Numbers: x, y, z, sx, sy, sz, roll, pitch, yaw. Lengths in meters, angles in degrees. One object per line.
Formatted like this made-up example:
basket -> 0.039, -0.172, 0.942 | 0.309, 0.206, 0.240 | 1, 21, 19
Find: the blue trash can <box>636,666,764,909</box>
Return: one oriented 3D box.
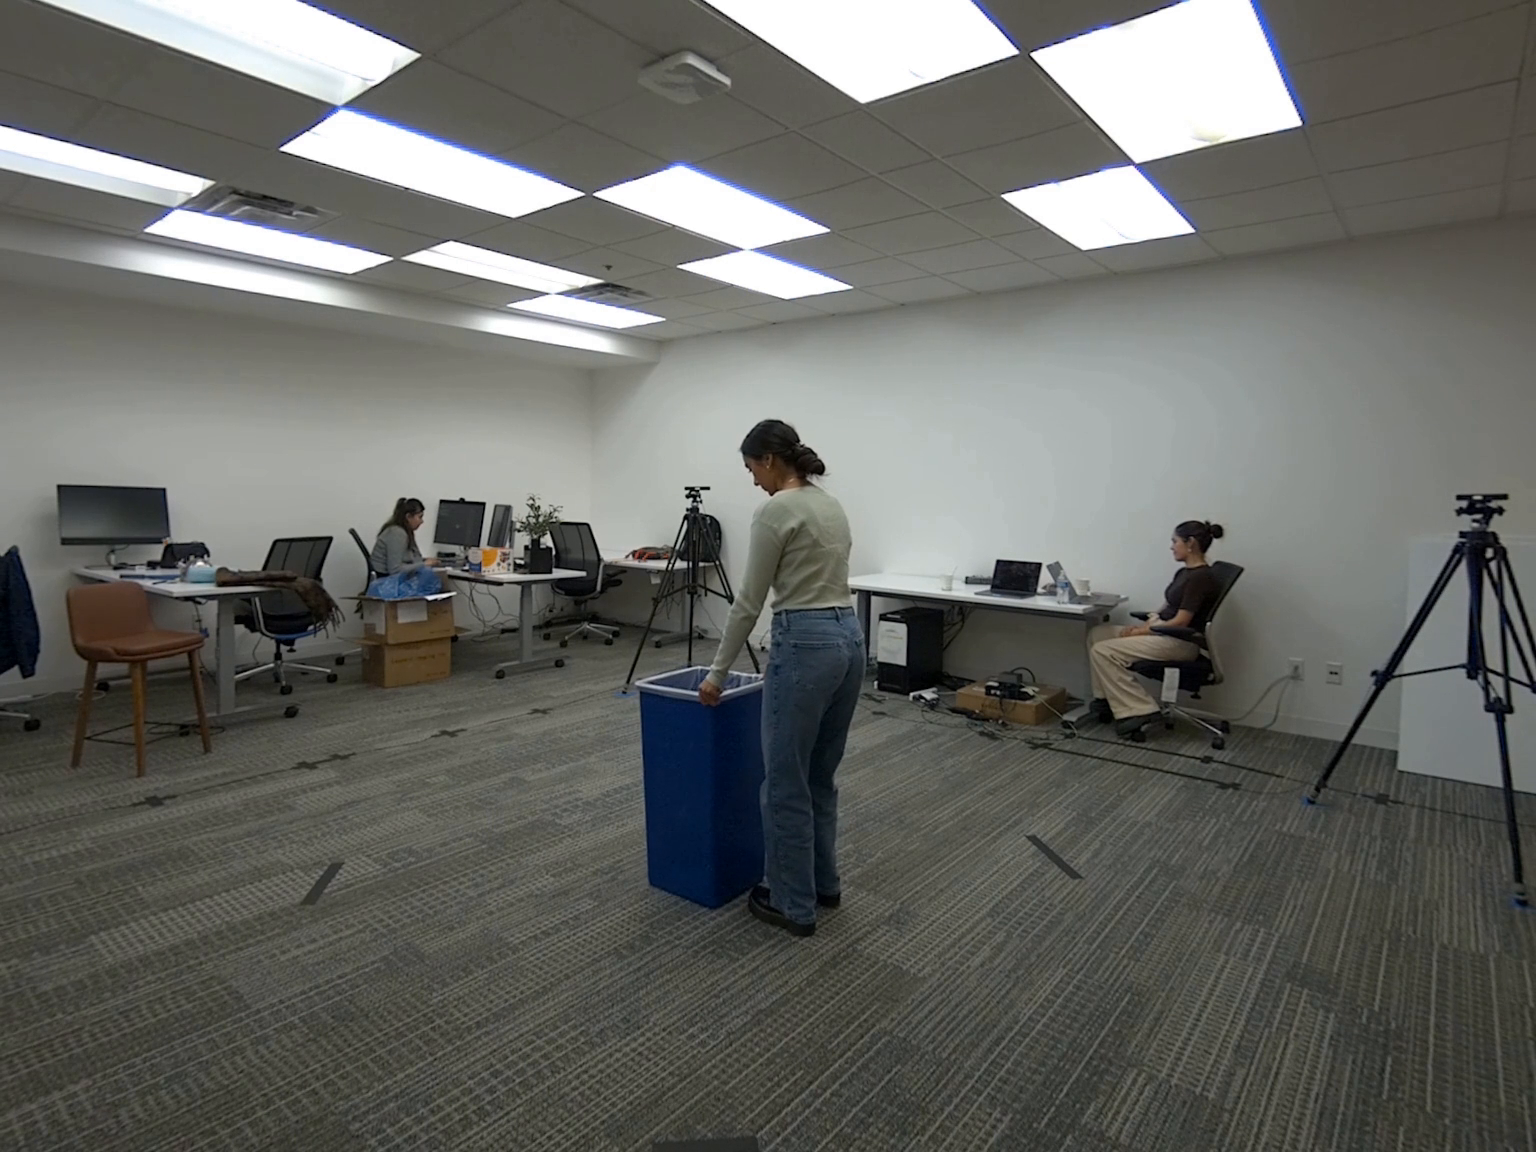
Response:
blue trash can -> -0.226, 0.717, 2.982 | 0.390, 0.712, 0.363 | 2, 3, 36
